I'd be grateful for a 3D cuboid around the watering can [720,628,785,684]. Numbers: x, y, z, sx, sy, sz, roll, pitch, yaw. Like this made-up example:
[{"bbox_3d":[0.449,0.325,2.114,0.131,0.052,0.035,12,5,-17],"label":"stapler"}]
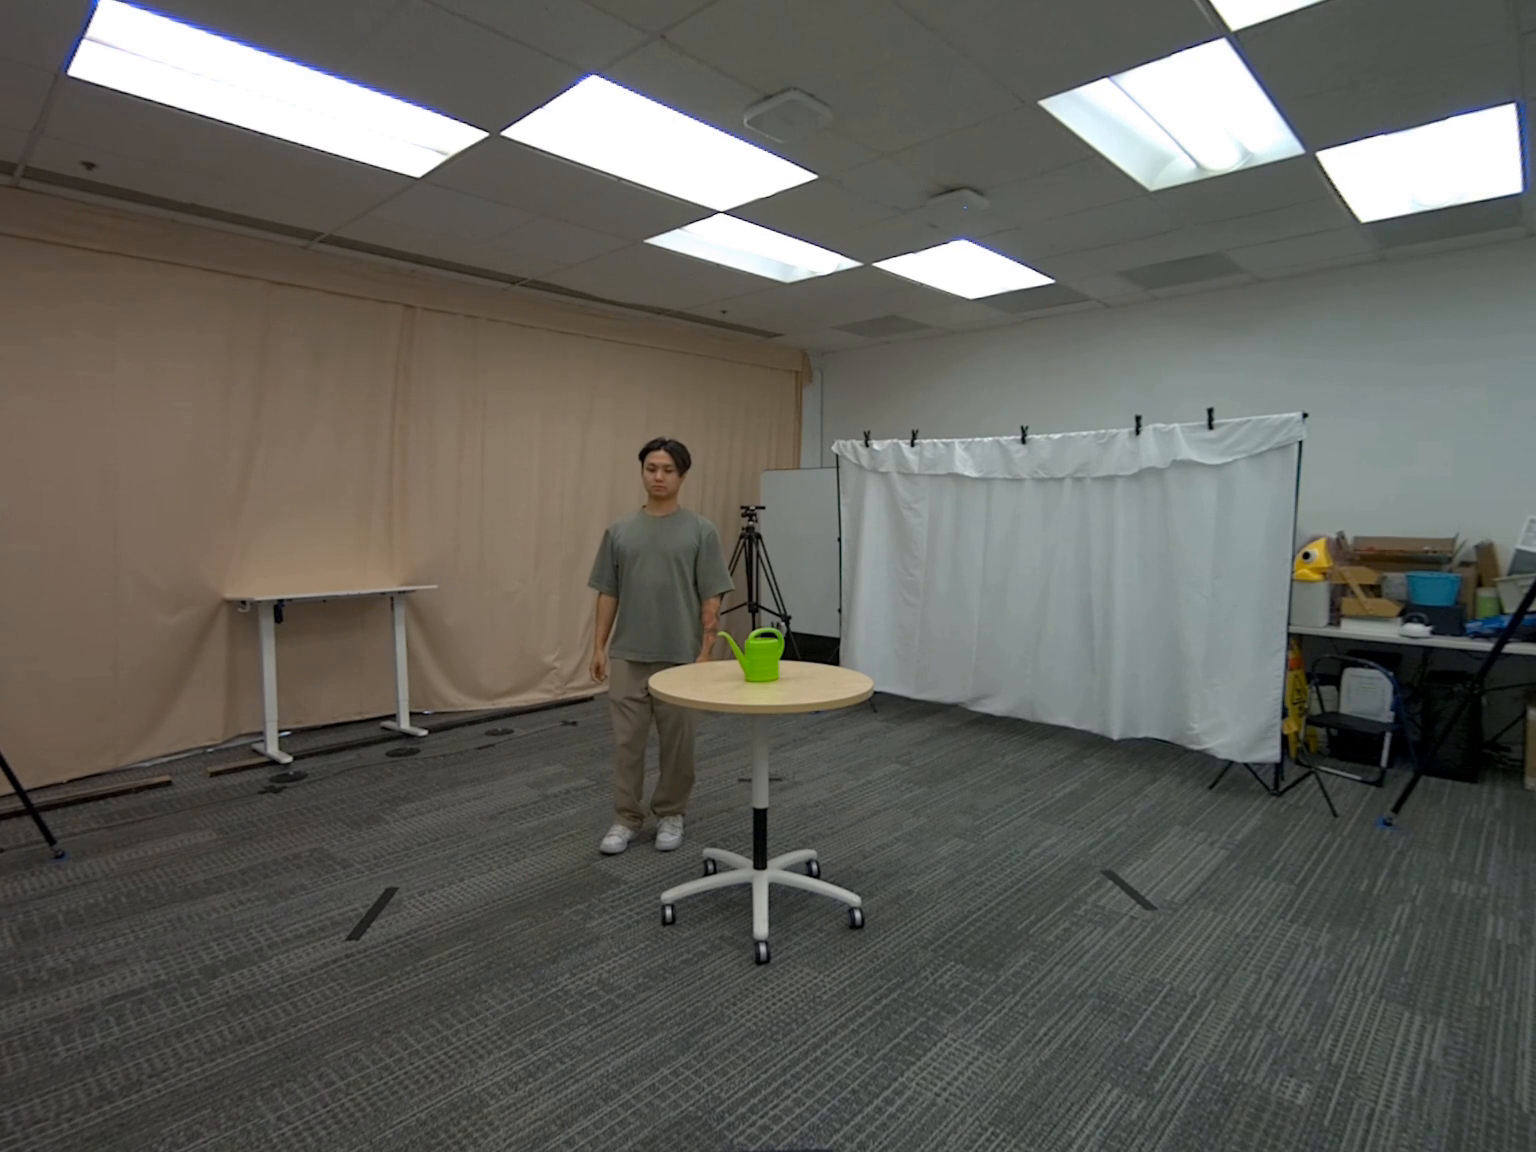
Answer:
[{"bbox_3d":[-0.059,0.268,2.865,0.272,0.176,0.100,0,2,-24],"label":"watering can"}]
